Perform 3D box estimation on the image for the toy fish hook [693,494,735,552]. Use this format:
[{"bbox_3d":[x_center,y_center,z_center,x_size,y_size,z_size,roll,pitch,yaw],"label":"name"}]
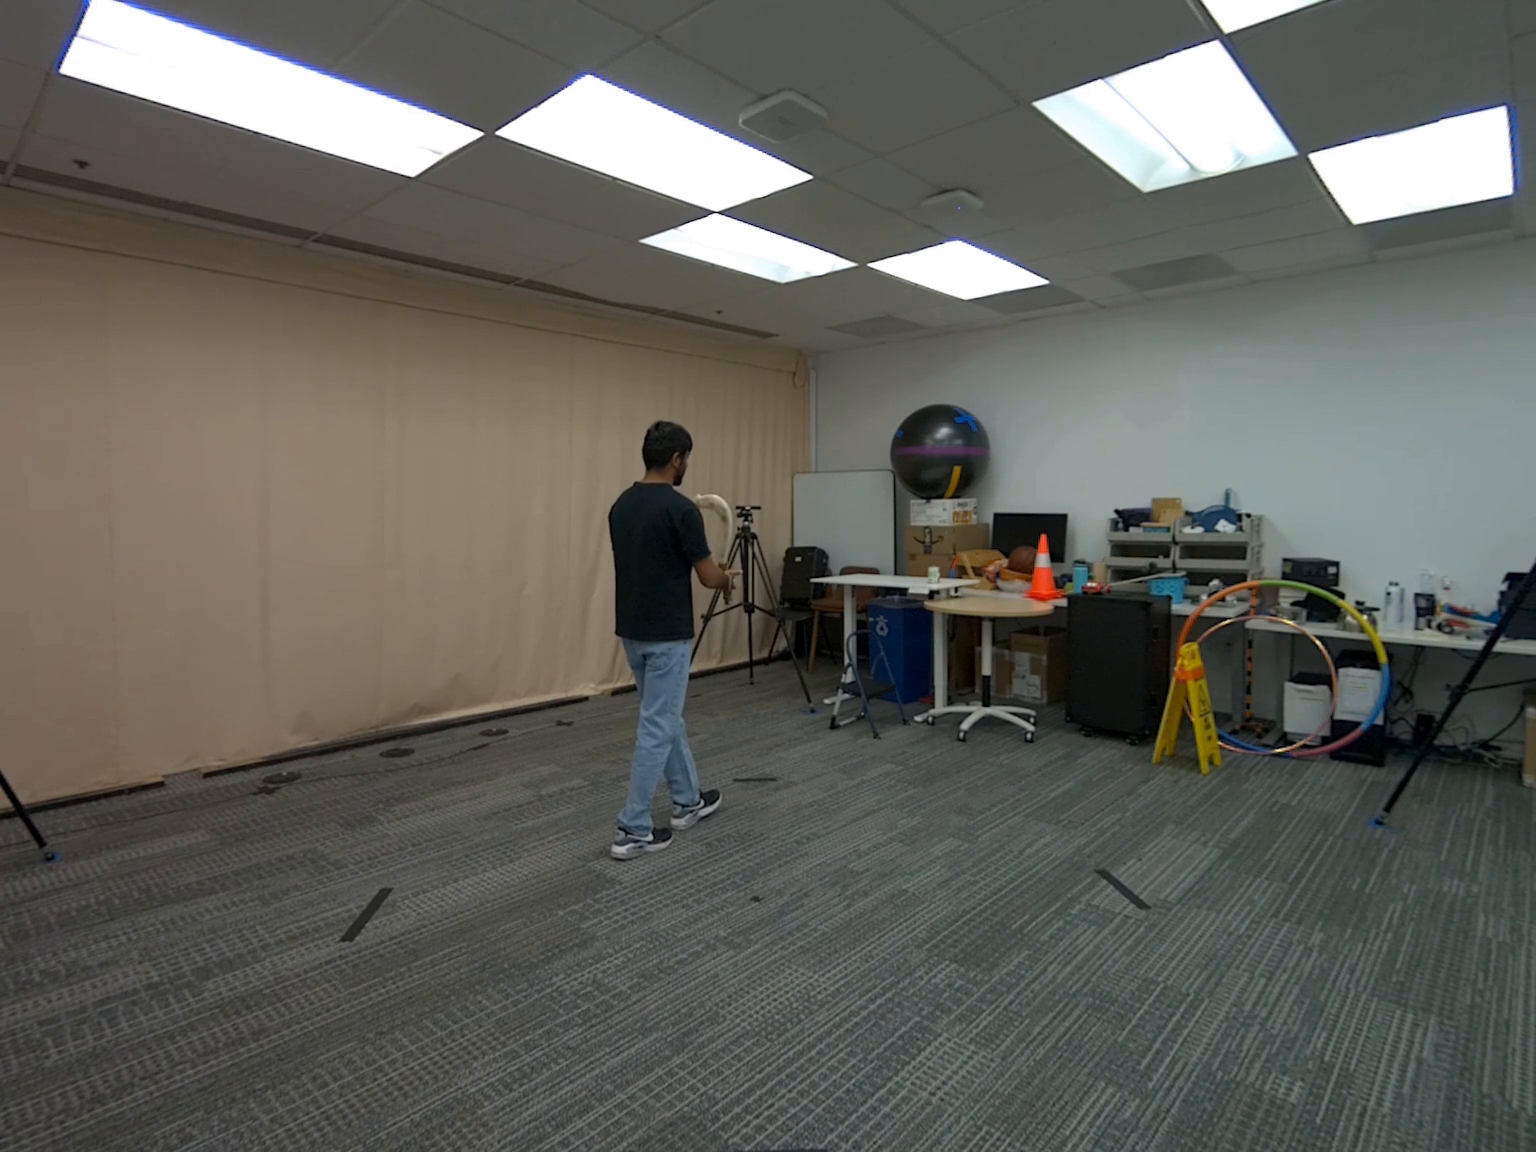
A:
[{"bbox_3d":[-0.249,-0.107,3.739,0.231,0.501,0.047,5,17,31],"label":"toy fish hook"}]
